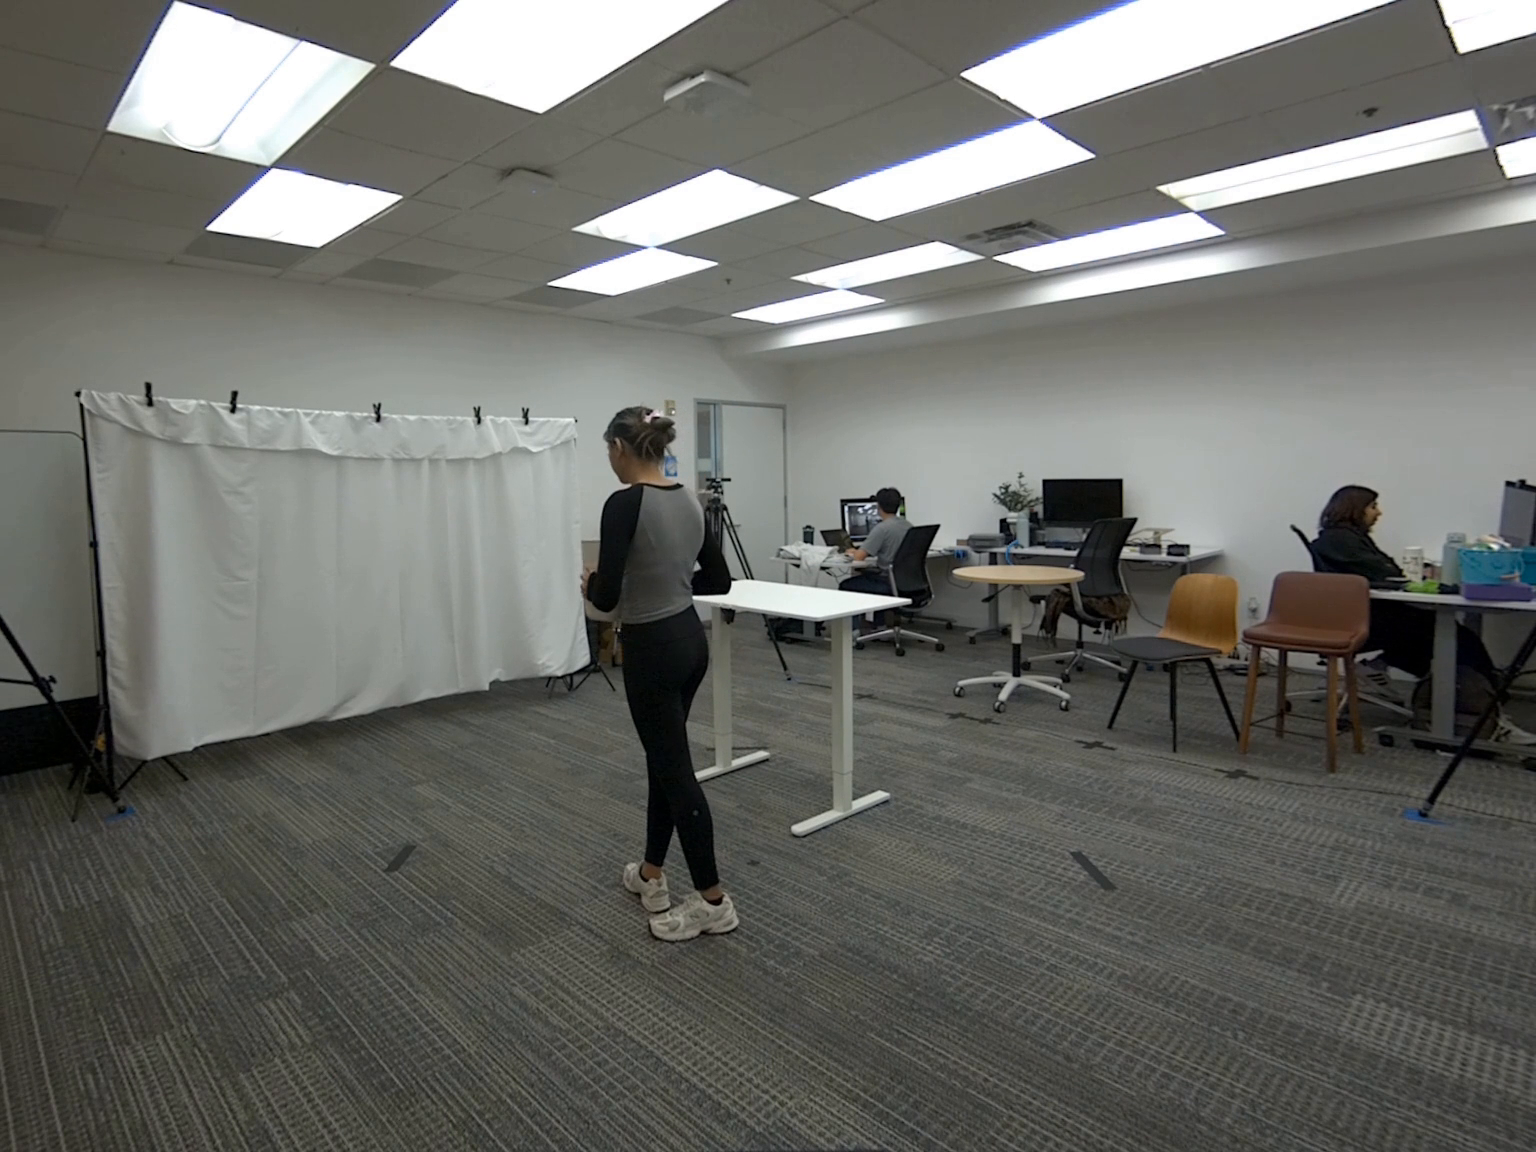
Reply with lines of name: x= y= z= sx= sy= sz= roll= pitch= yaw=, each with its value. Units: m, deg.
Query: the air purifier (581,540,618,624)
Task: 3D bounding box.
air purifier: x=-0.542 y=0.015 z=2.852 sx=0.171 sy=0.265 sz=0.172 roll=1 pitch=2 yaw=1
